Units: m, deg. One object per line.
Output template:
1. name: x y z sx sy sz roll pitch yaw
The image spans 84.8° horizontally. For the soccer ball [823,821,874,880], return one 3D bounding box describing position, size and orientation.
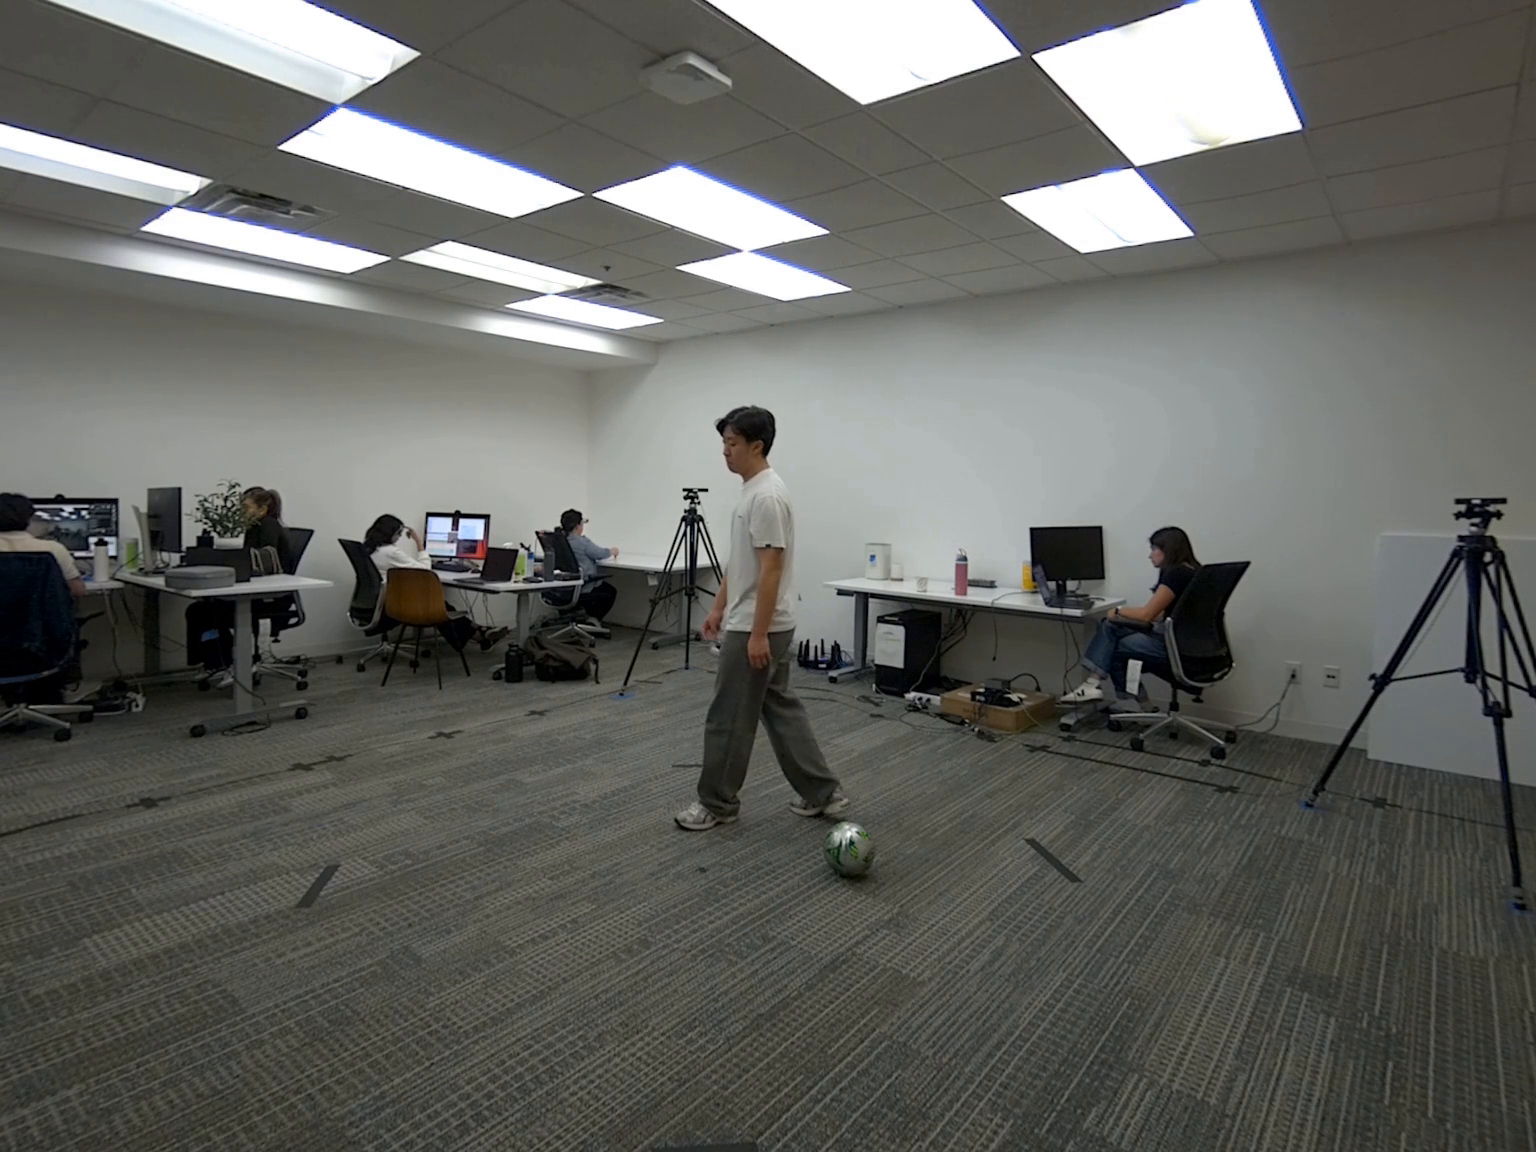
1. soccer ball: 0.297 0.986 3.099 0.187 0.187 0.188 1 4 -2
